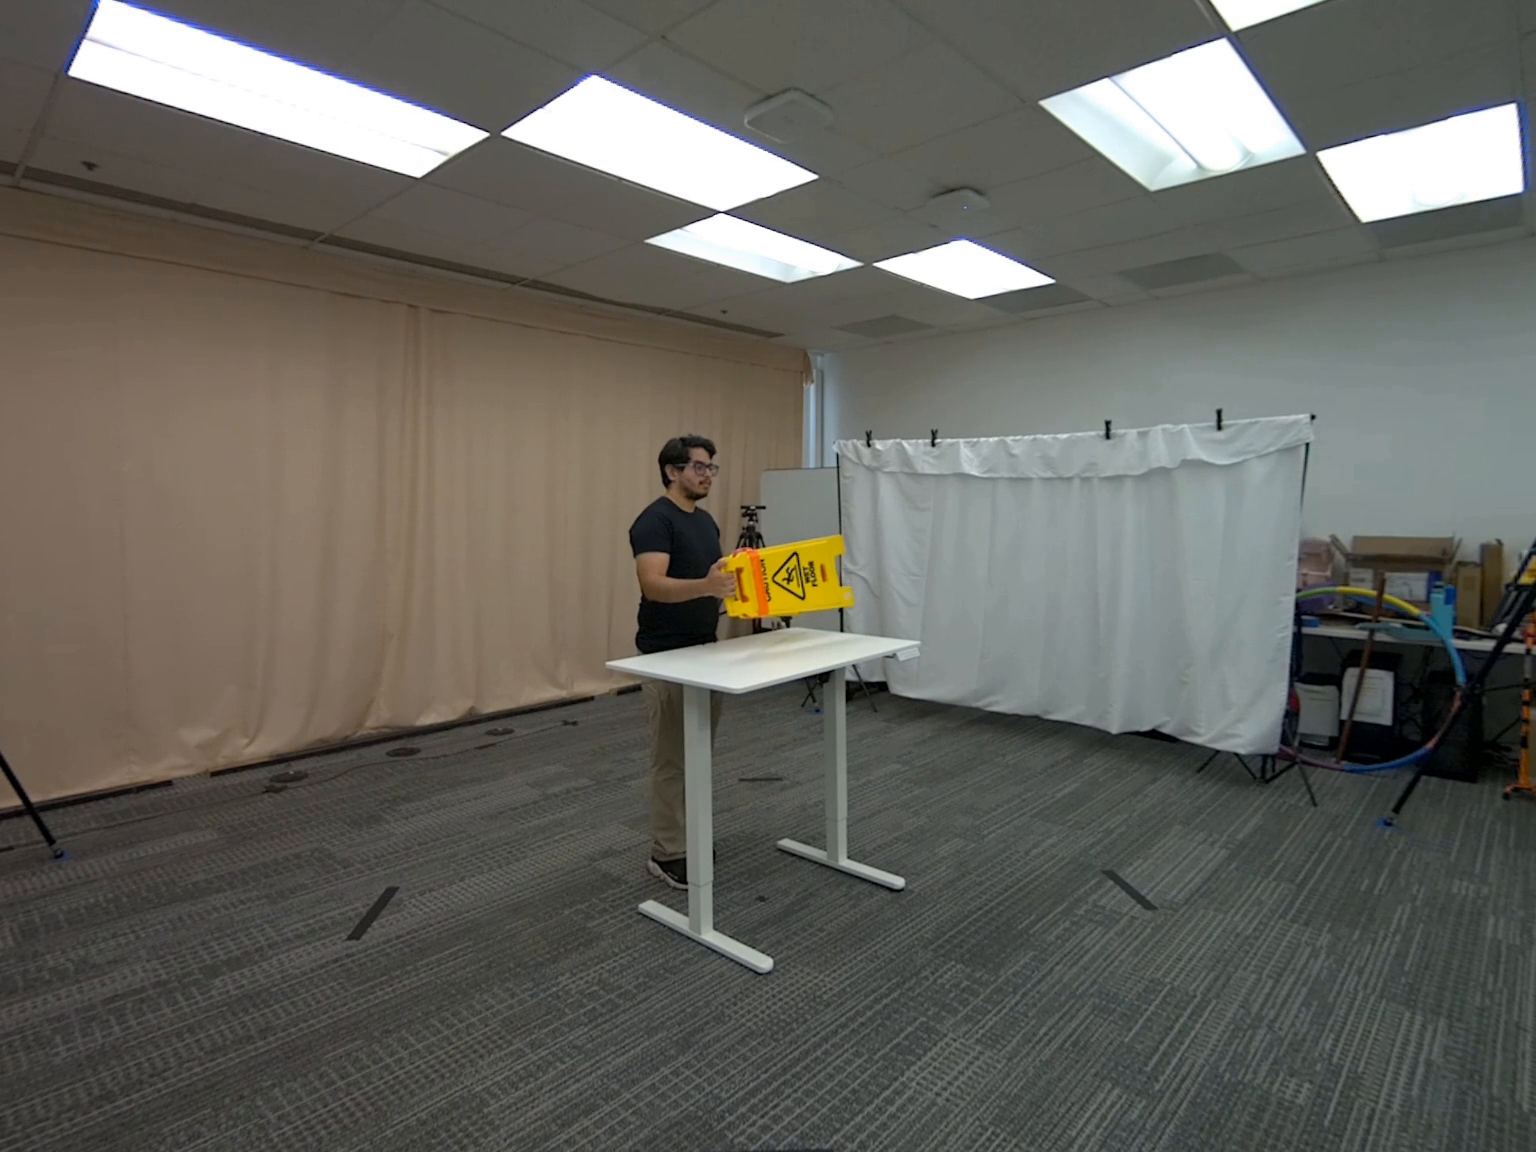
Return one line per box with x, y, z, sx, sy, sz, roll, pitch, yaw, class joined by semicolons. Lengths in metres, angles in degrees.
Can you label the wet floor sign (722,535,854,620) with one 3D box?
0.034;0.022;3.068;0.297;0.283;0.628;-12;-3;33;wet floor sign
